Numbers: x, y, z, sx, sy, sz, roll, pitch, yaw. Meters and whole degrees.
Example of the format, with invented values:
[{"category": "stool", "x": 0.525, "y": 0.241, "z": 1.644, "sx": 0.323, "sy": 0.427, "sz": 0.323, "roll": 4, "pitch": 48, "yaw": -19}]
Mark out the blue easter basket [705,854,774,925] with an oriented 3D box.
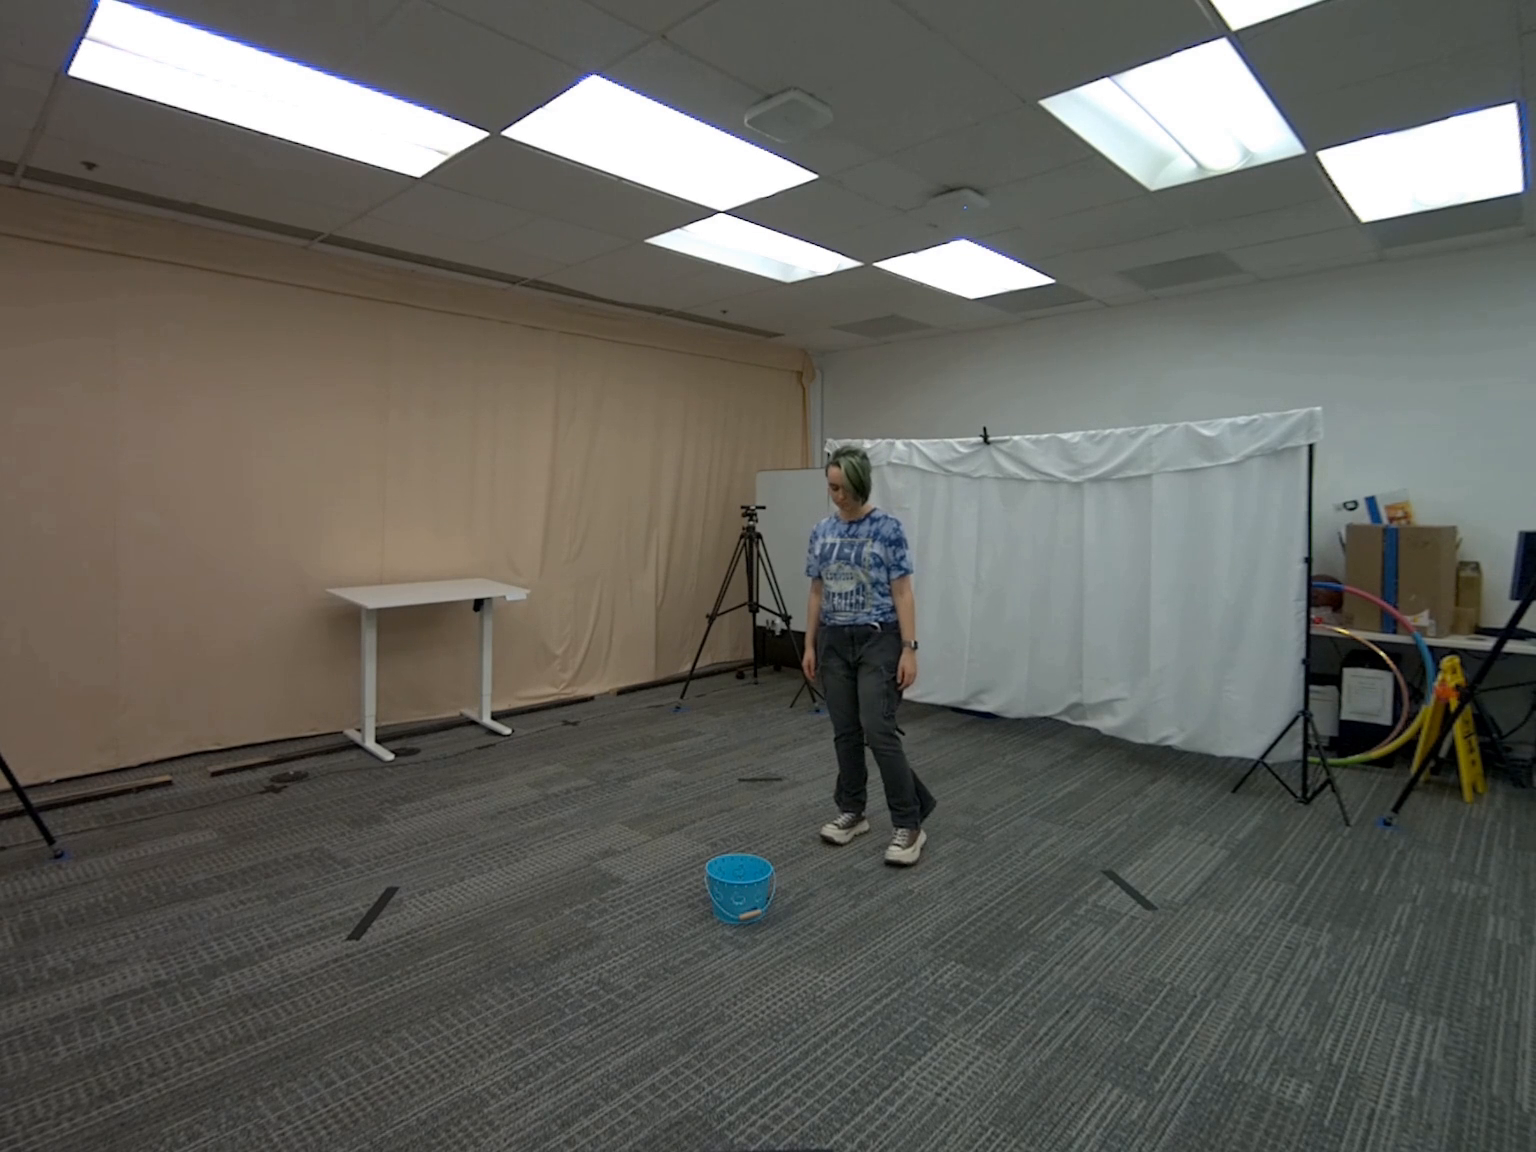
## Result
[{"category": "blue easter basket", "x": -0.099, "y": 1.072, "z": 2.891, "sx": 0.243, "sy": 0.155, "sz": 0.244, "roll": 0, "pitch": 4, "yaw": -2}]
